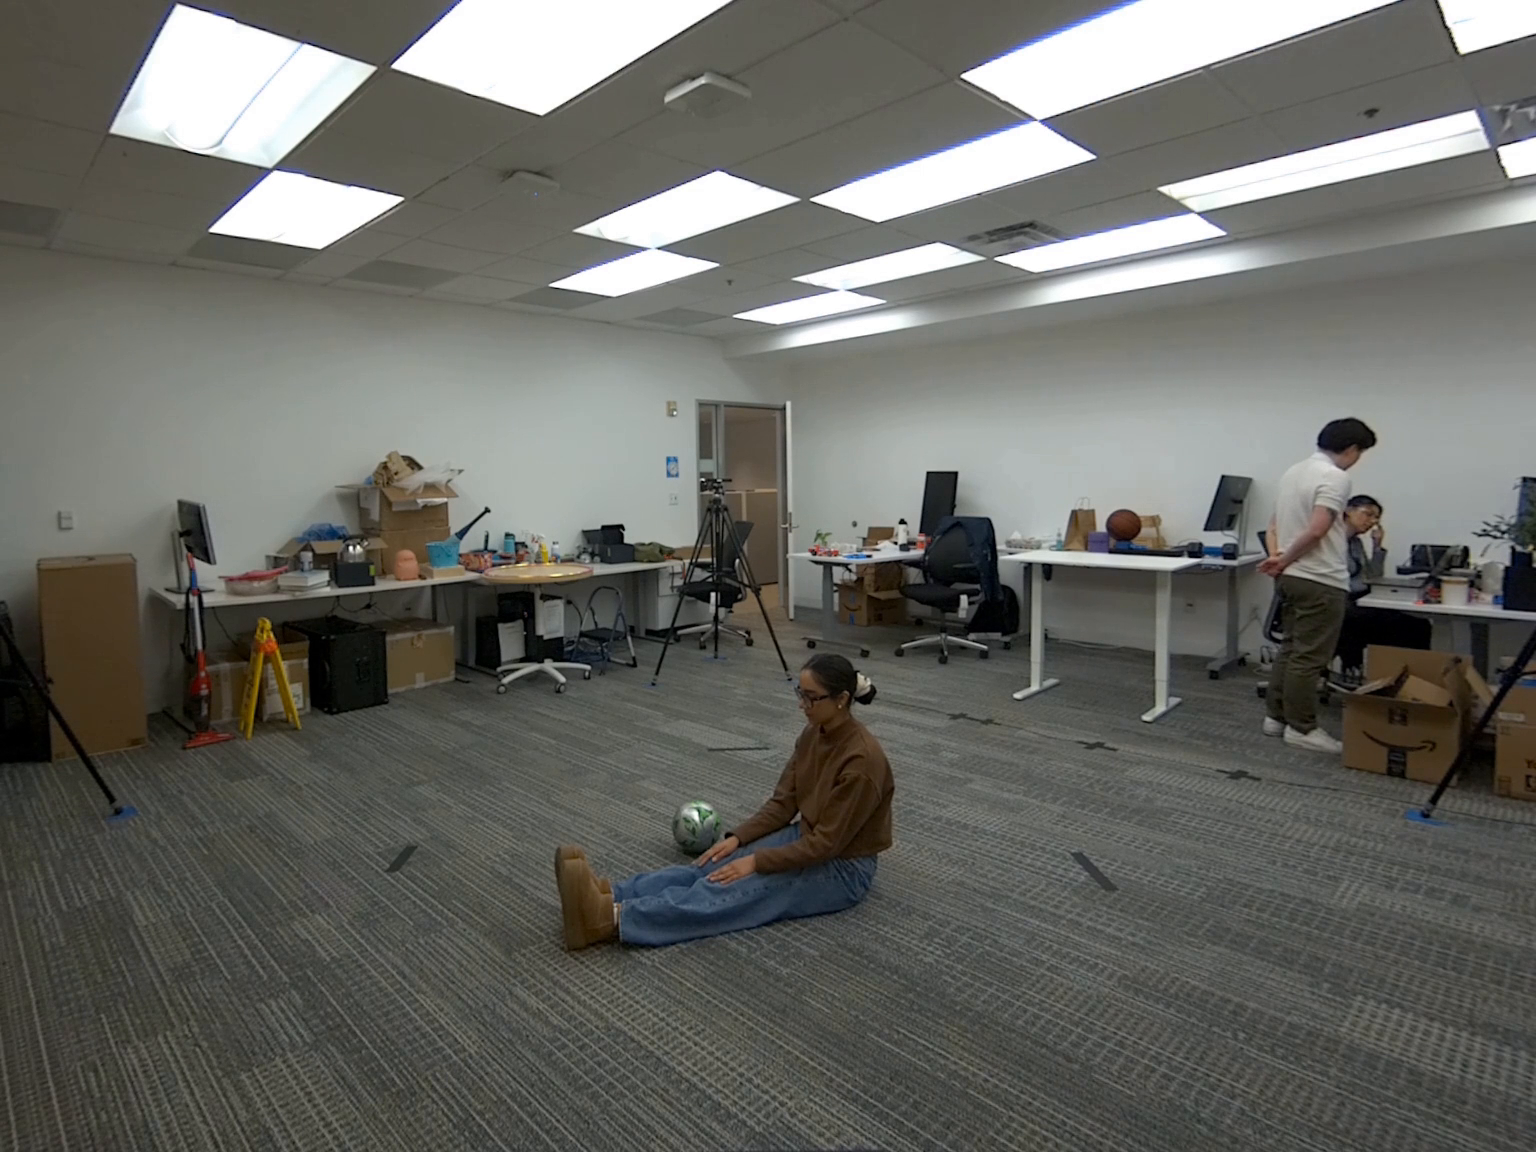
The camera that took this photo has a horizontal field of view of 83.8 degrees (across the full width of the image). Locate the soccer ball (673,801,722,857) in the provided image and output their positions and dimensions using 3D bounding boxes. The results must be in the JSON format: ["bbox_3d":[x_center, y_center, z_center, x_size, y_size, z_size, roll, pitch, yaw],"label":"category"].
[{"bbox_3d":[-0.268,0.944,3.217,0.187,0.187,0.188,-1,5,-2],"label":"soccer ball"}]
